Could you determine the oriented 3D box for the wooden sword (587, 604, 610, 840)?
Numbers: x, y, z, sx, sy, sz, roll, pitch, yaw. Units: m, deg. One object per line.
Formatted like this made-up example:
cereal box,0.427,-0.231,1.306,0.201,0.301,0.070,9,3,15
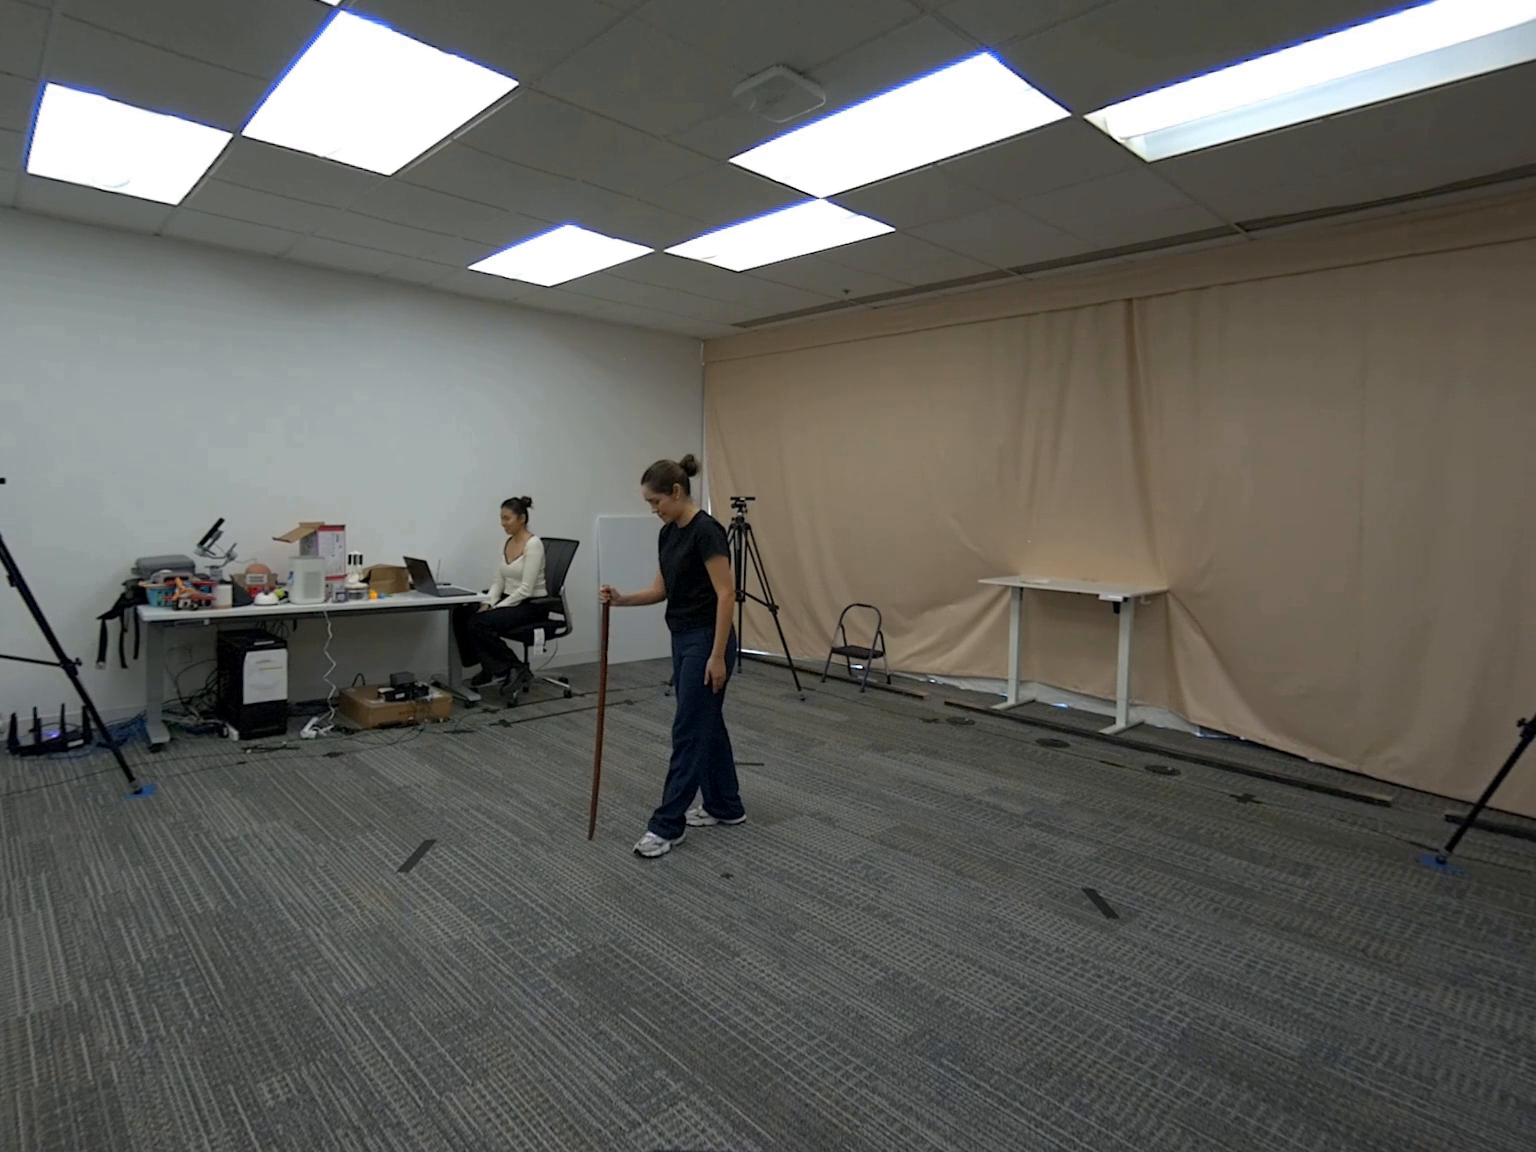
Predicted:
wooden sword,-0.682,0.556,3.417,0.052,1.025,0.023,4,-1,24
